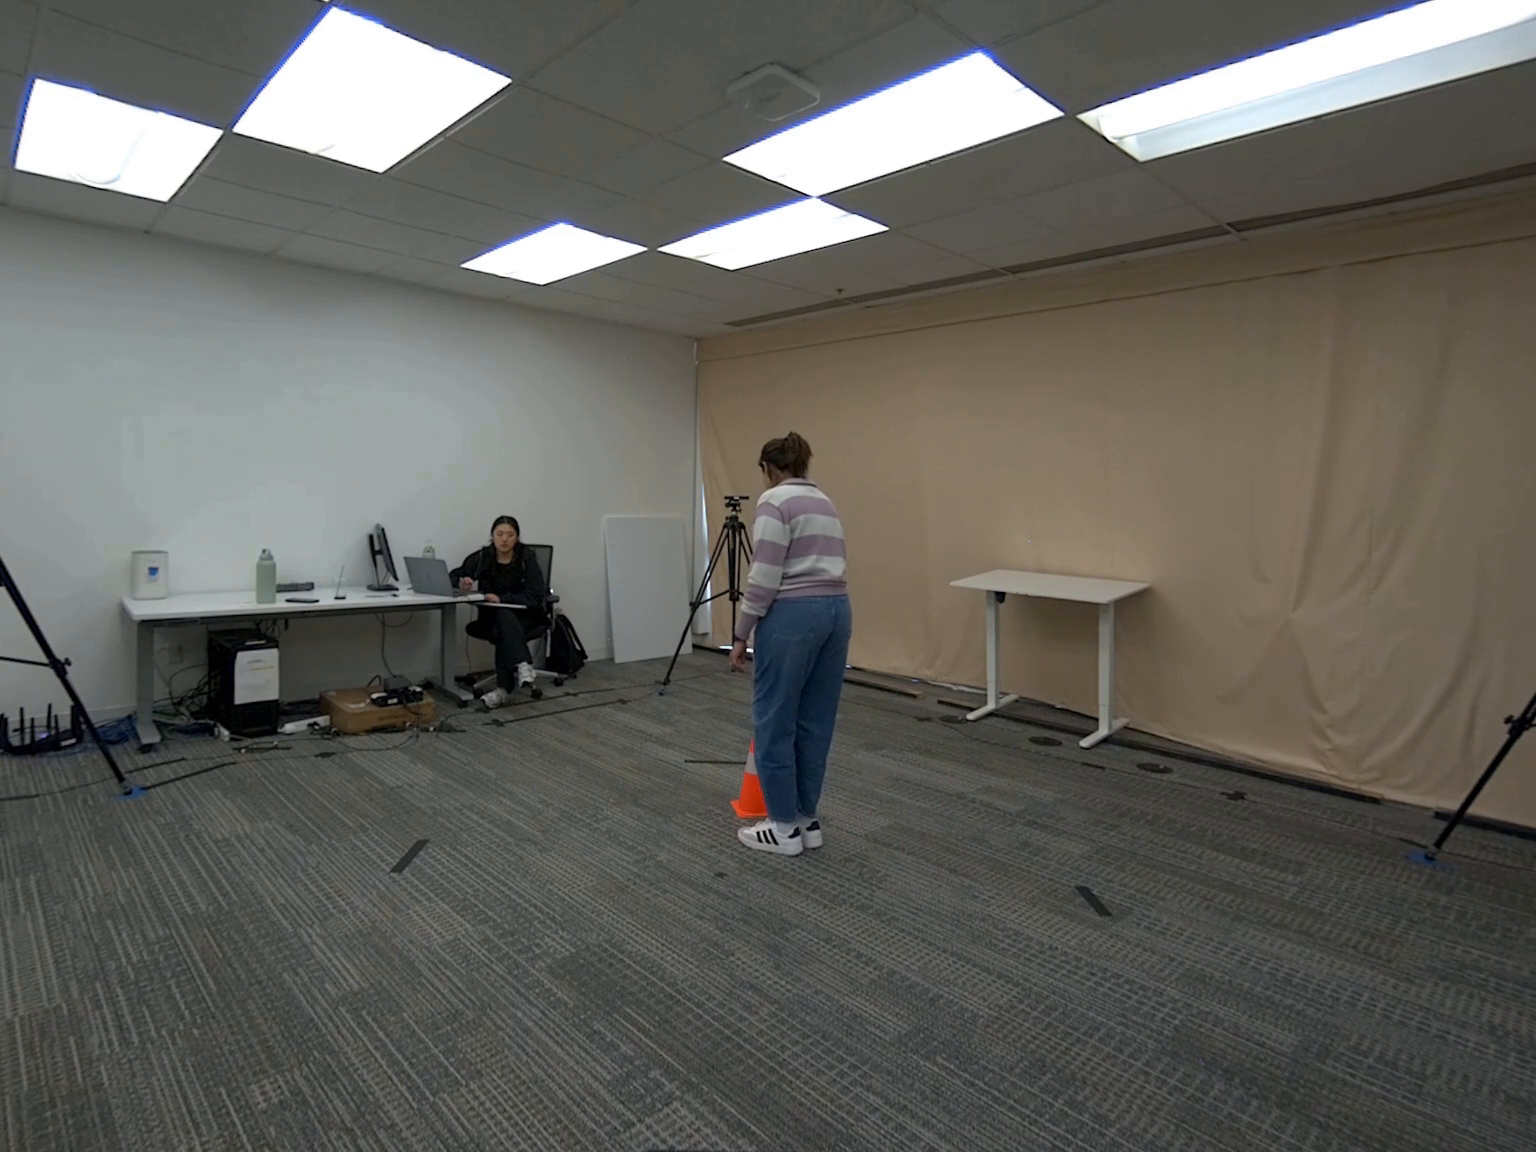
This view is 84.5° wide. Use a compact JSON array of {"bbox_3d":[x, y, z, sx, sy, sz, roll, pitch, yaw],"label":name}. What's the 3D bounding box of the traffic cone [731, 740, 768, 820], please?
[{"bbox_3d":[-0.056,0.862,3.794,0.203,0.383,0.206,3,3,-12],"label":"traffic cone"}]
